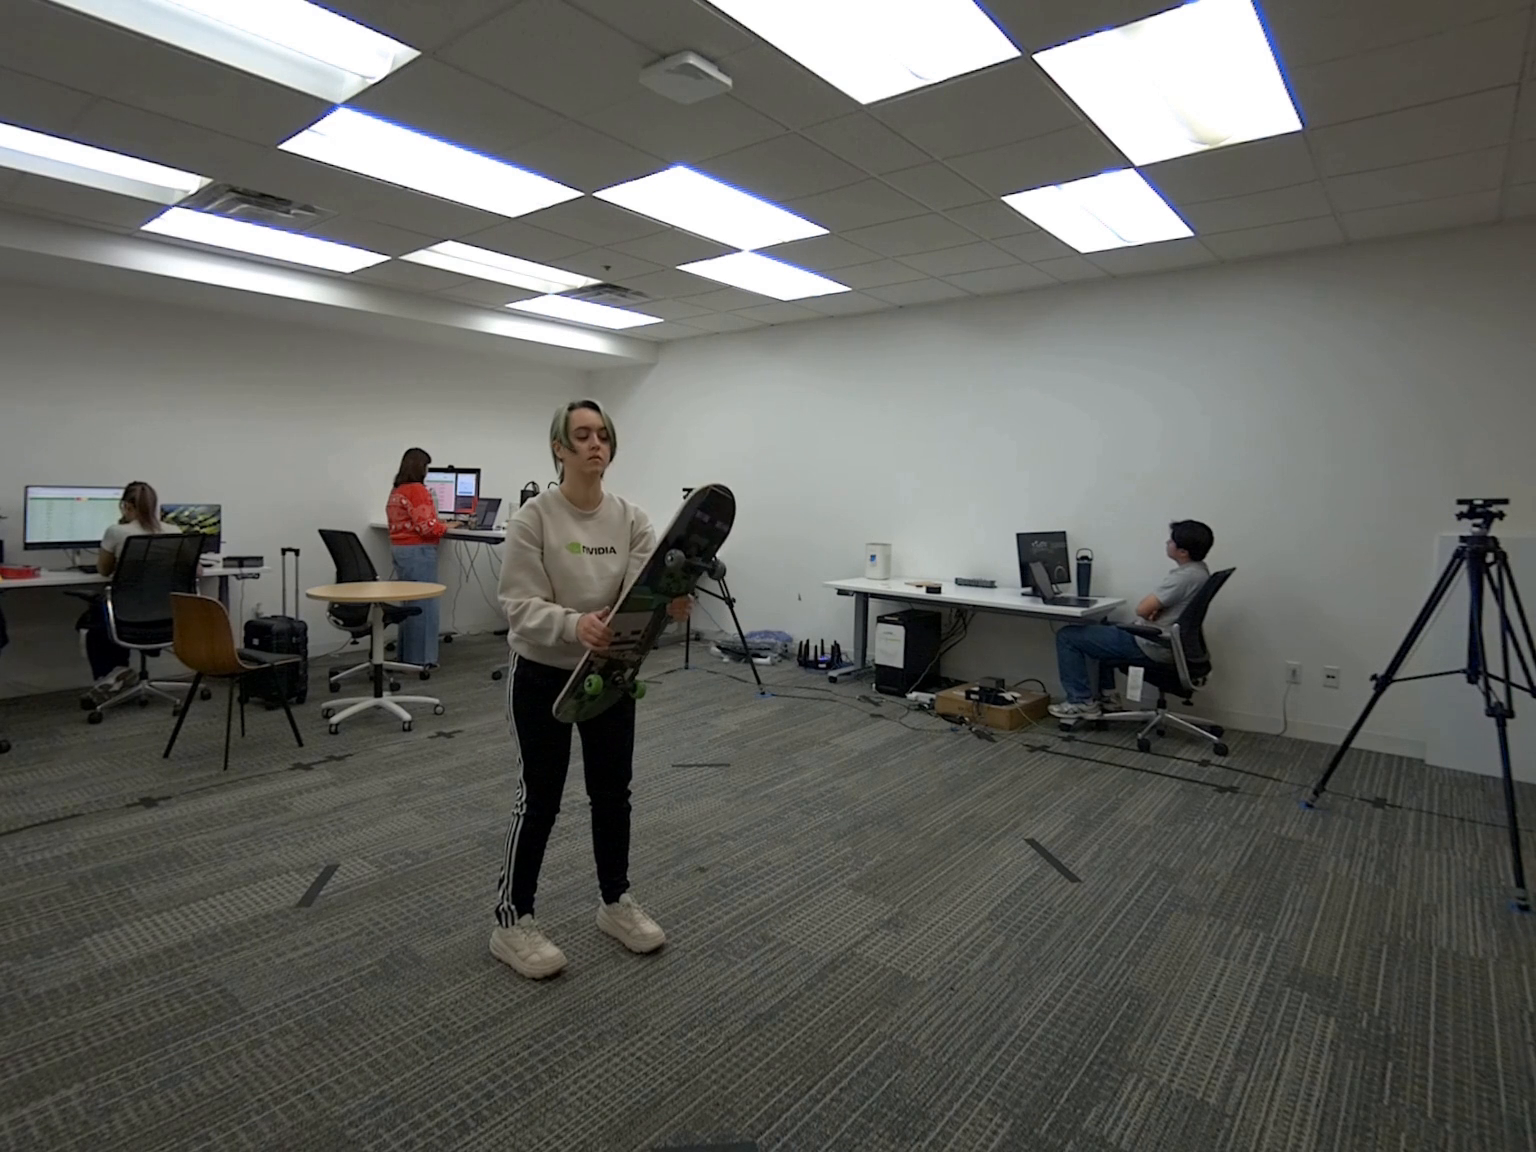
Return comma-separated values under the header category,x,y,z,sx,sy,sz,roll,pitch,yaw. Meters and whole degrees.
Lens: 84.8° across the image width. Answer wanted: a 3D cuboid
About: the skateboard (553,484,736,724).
category,x,y,z,sx,sy,sz,roll,pitch,yaw
skateboard,-0.320,0.117,2.176,0.186,0.782,0.115,15,24,-49
